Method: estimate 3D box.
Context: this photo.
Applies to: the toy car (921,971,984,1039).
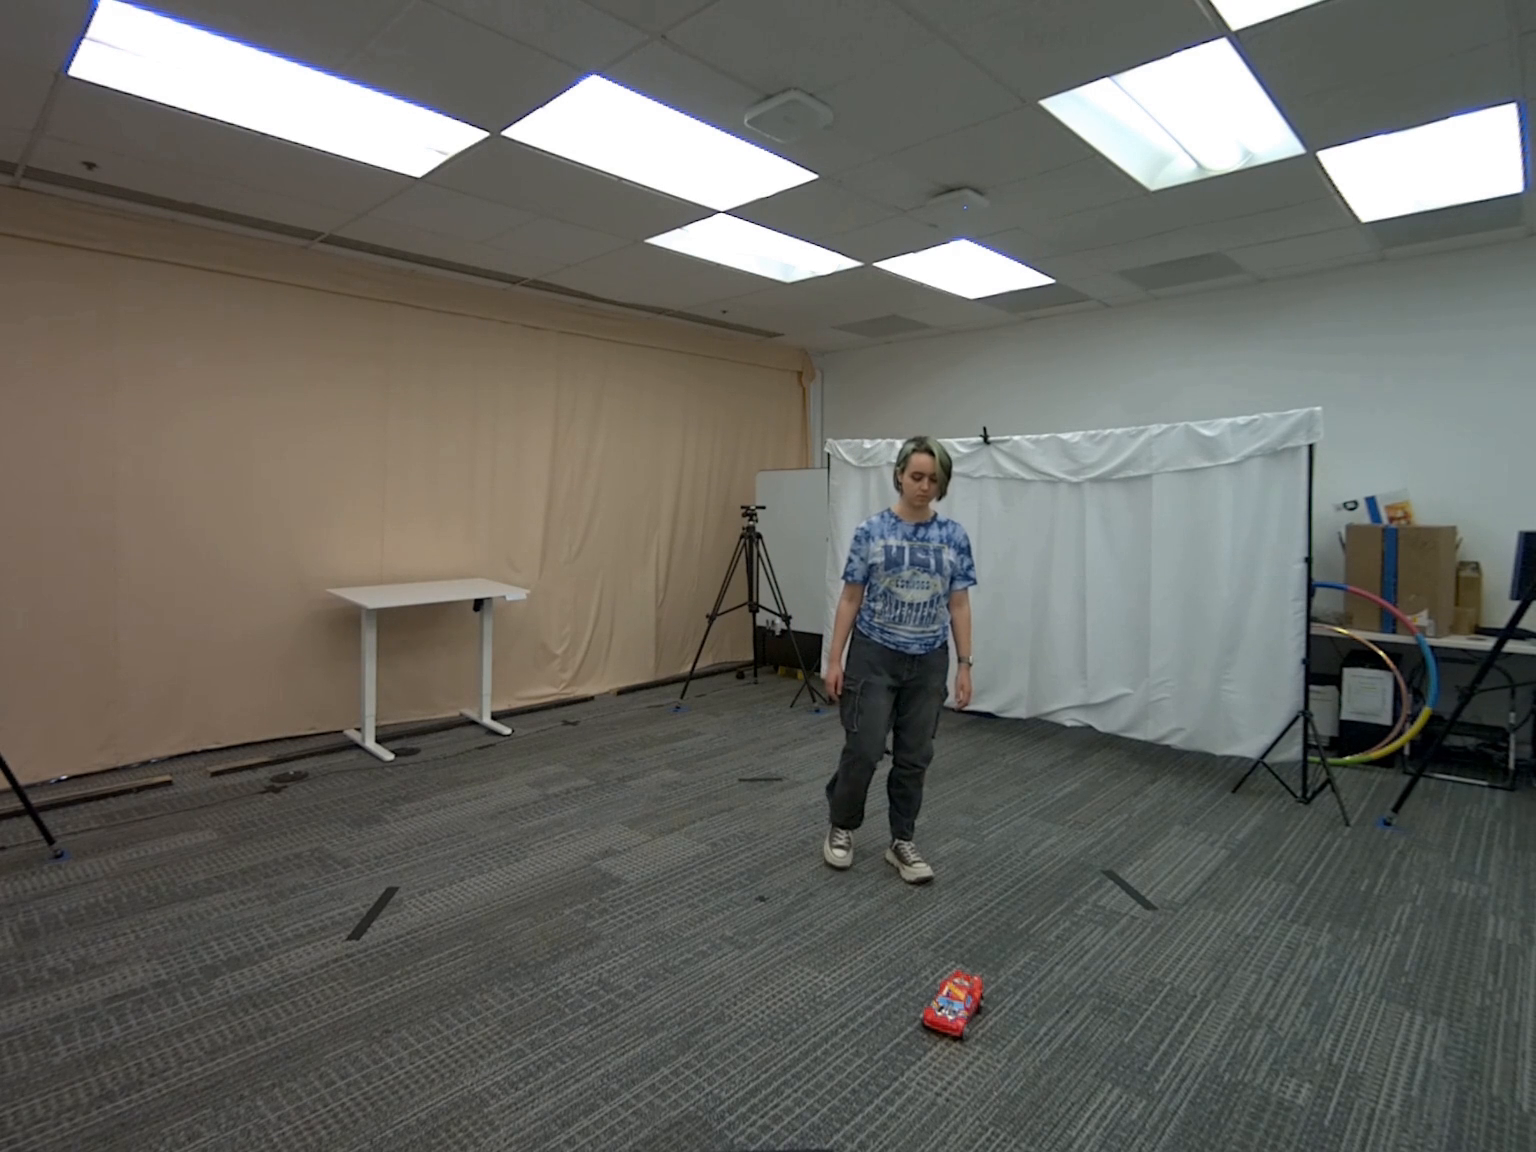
[{"bbox_3d":[0.513,1.165,2.300,0.134,0.082,0.250,2,17,31],"label":"toy car"}]
